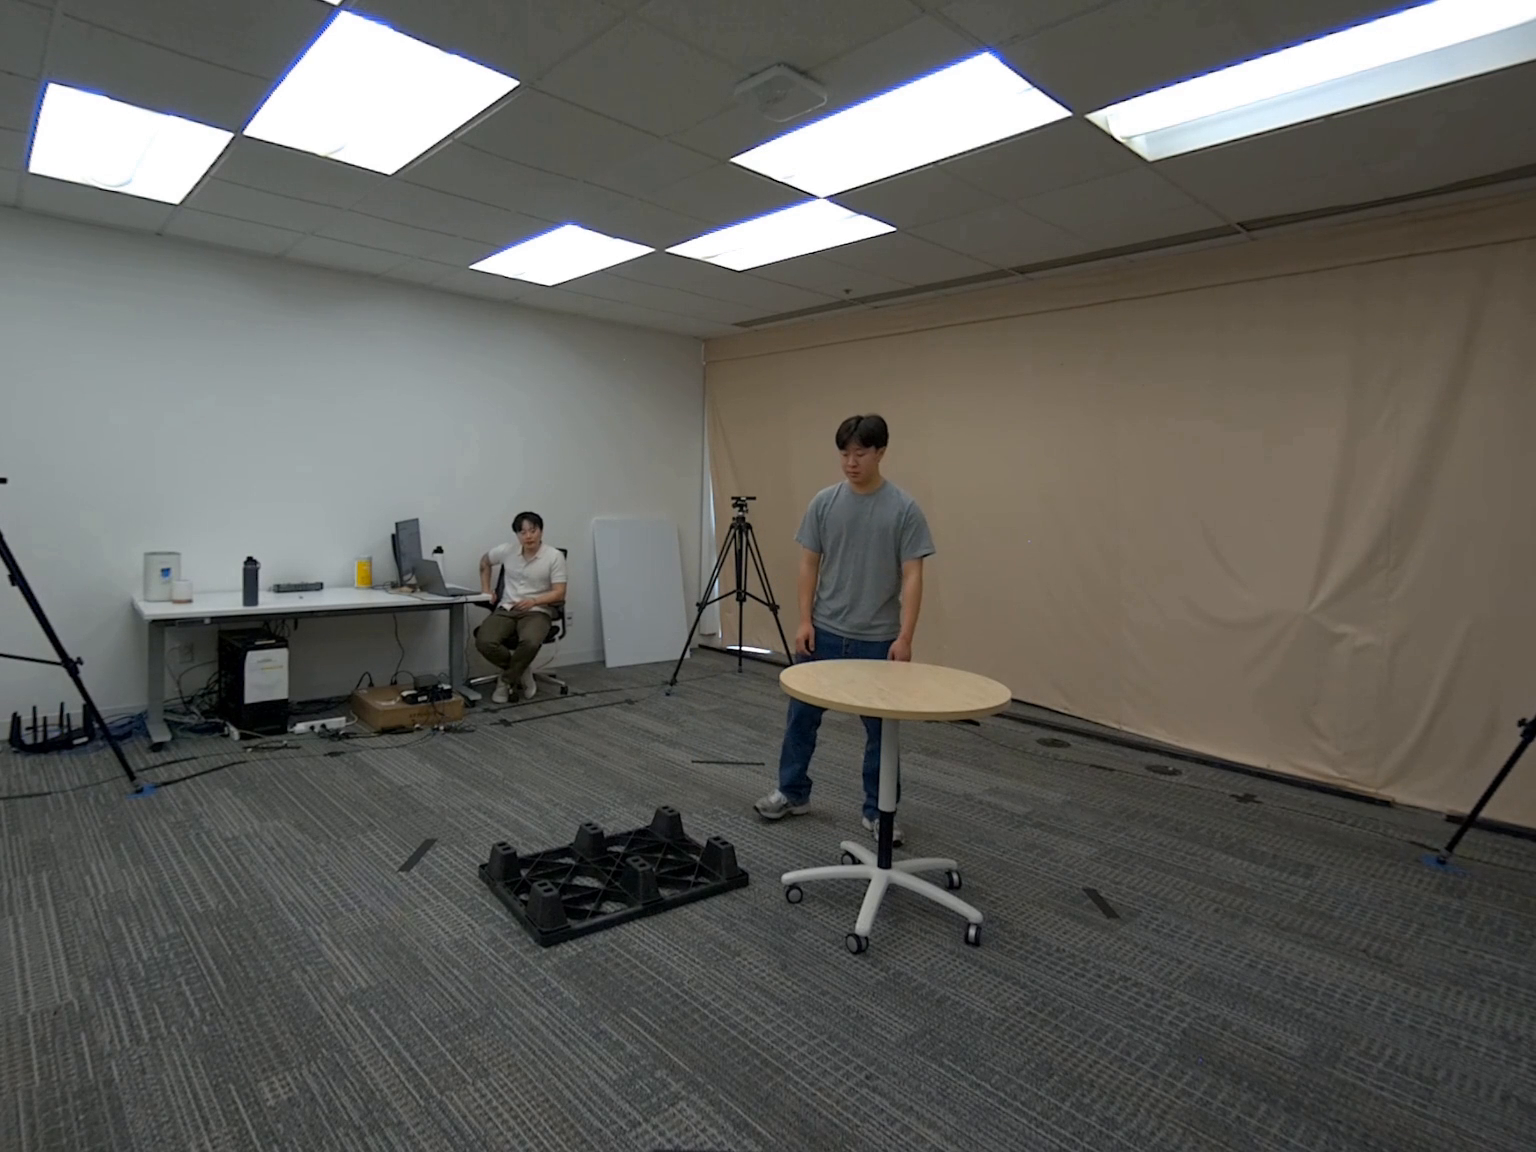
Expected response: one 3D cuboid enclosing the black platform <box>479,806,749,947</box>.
[{"bbox_3d":[-0.562,1.038,3.032,0.788,0.143,0.620,-3,6,-37],"label":"black platform"}]
